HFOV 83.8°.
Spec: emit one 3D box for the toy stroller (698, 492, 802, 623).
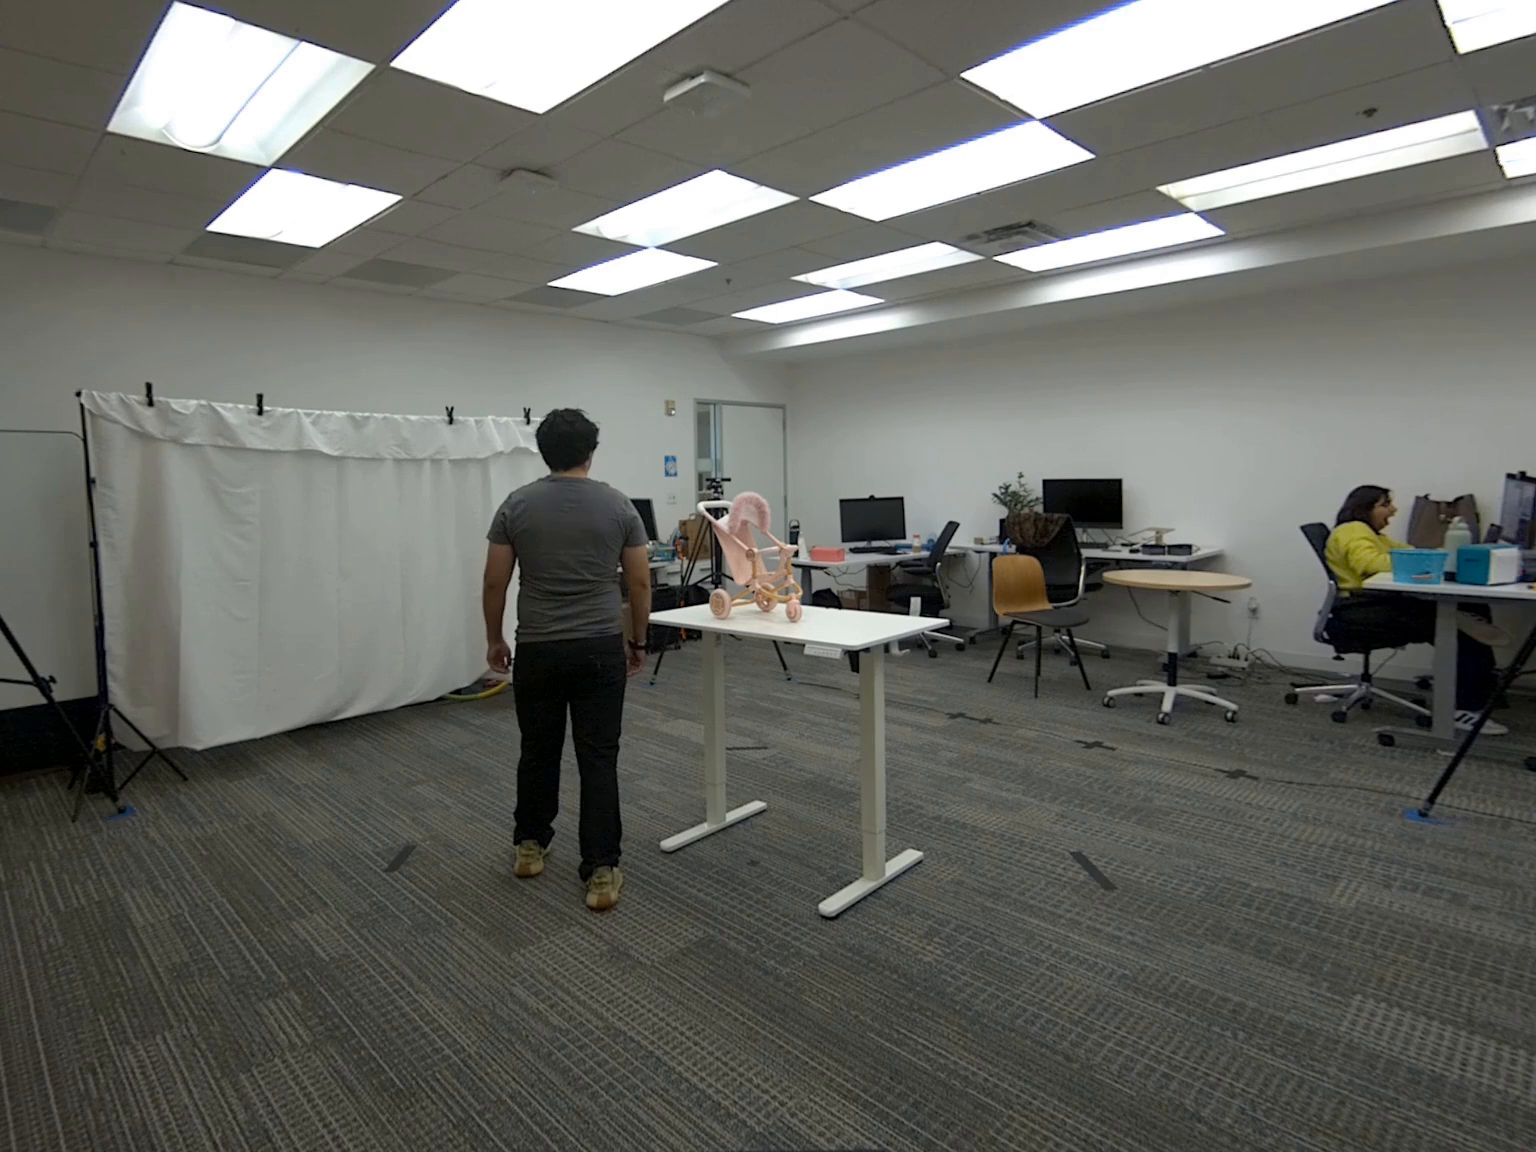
[{"bbox_3d":[-0.047,-0.069,3.162,0.274,0.541,0.347,-3,-12,-42],"label":"toy stroller"}]
